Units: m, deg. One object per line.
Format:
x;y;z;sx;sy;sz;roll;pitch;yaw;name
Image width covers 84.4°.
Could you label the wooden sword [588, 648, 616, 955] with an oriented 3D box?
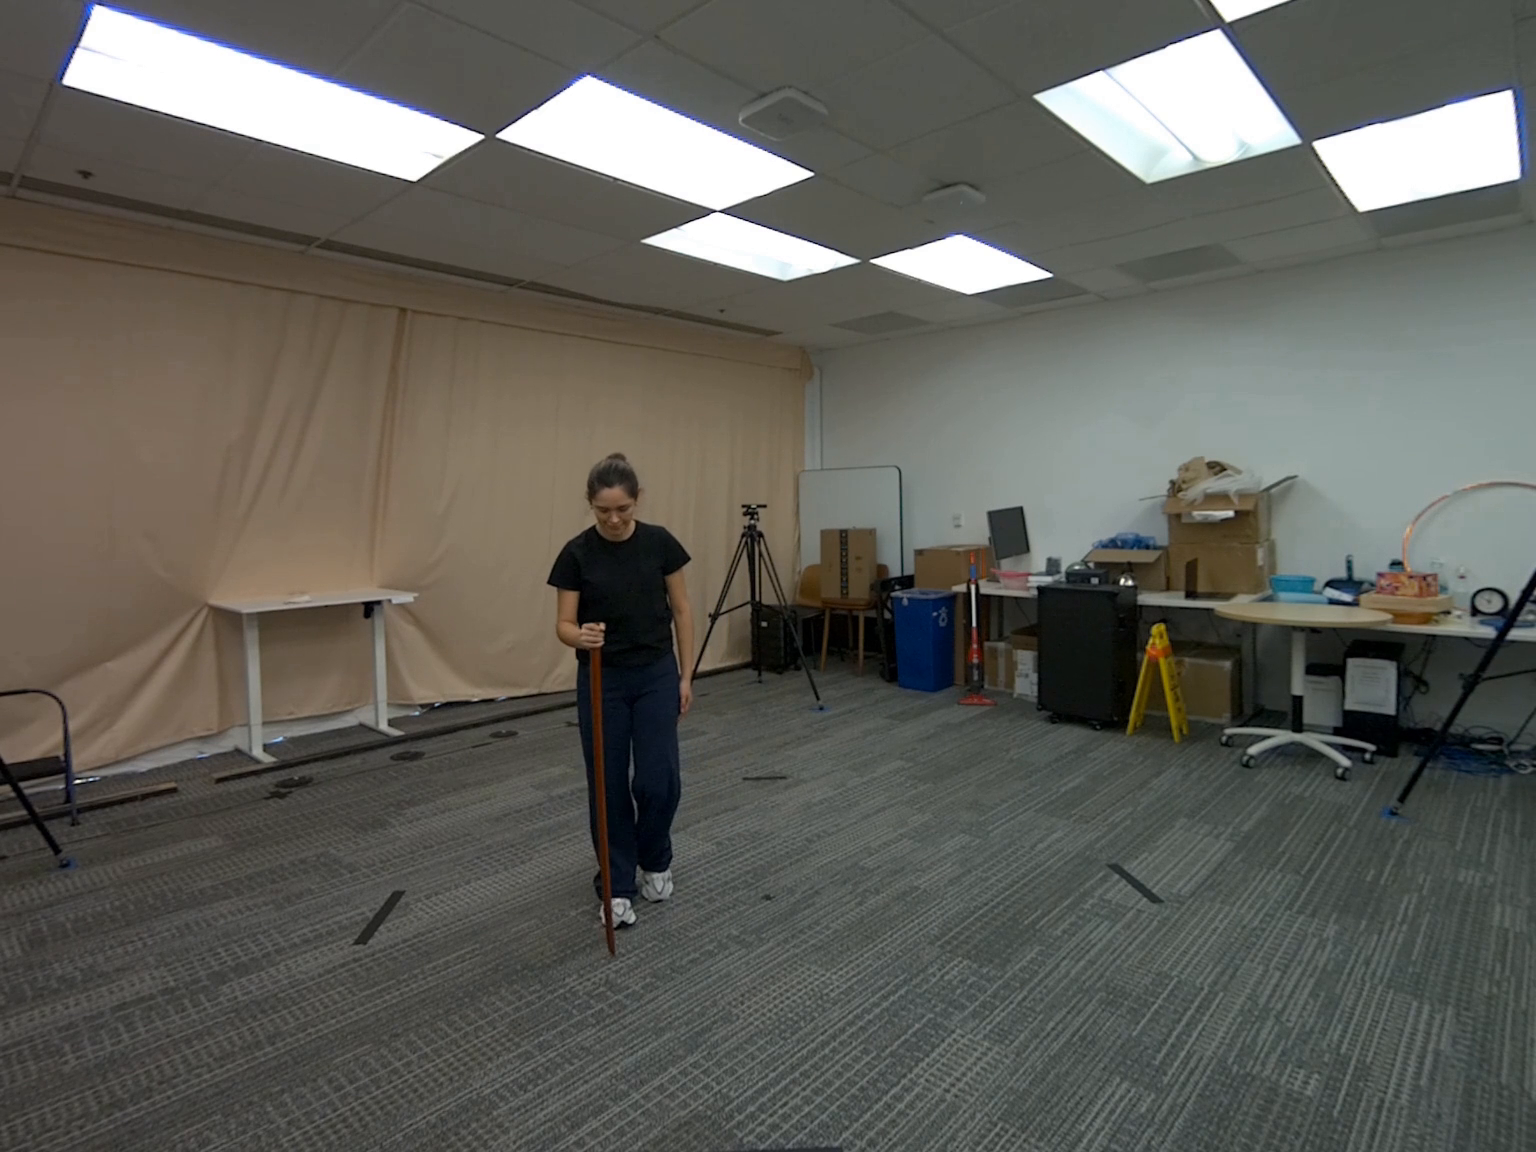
-0.505;0.666;2.612;0.024;1.025;0.051;-3;0;1;wooden sword
